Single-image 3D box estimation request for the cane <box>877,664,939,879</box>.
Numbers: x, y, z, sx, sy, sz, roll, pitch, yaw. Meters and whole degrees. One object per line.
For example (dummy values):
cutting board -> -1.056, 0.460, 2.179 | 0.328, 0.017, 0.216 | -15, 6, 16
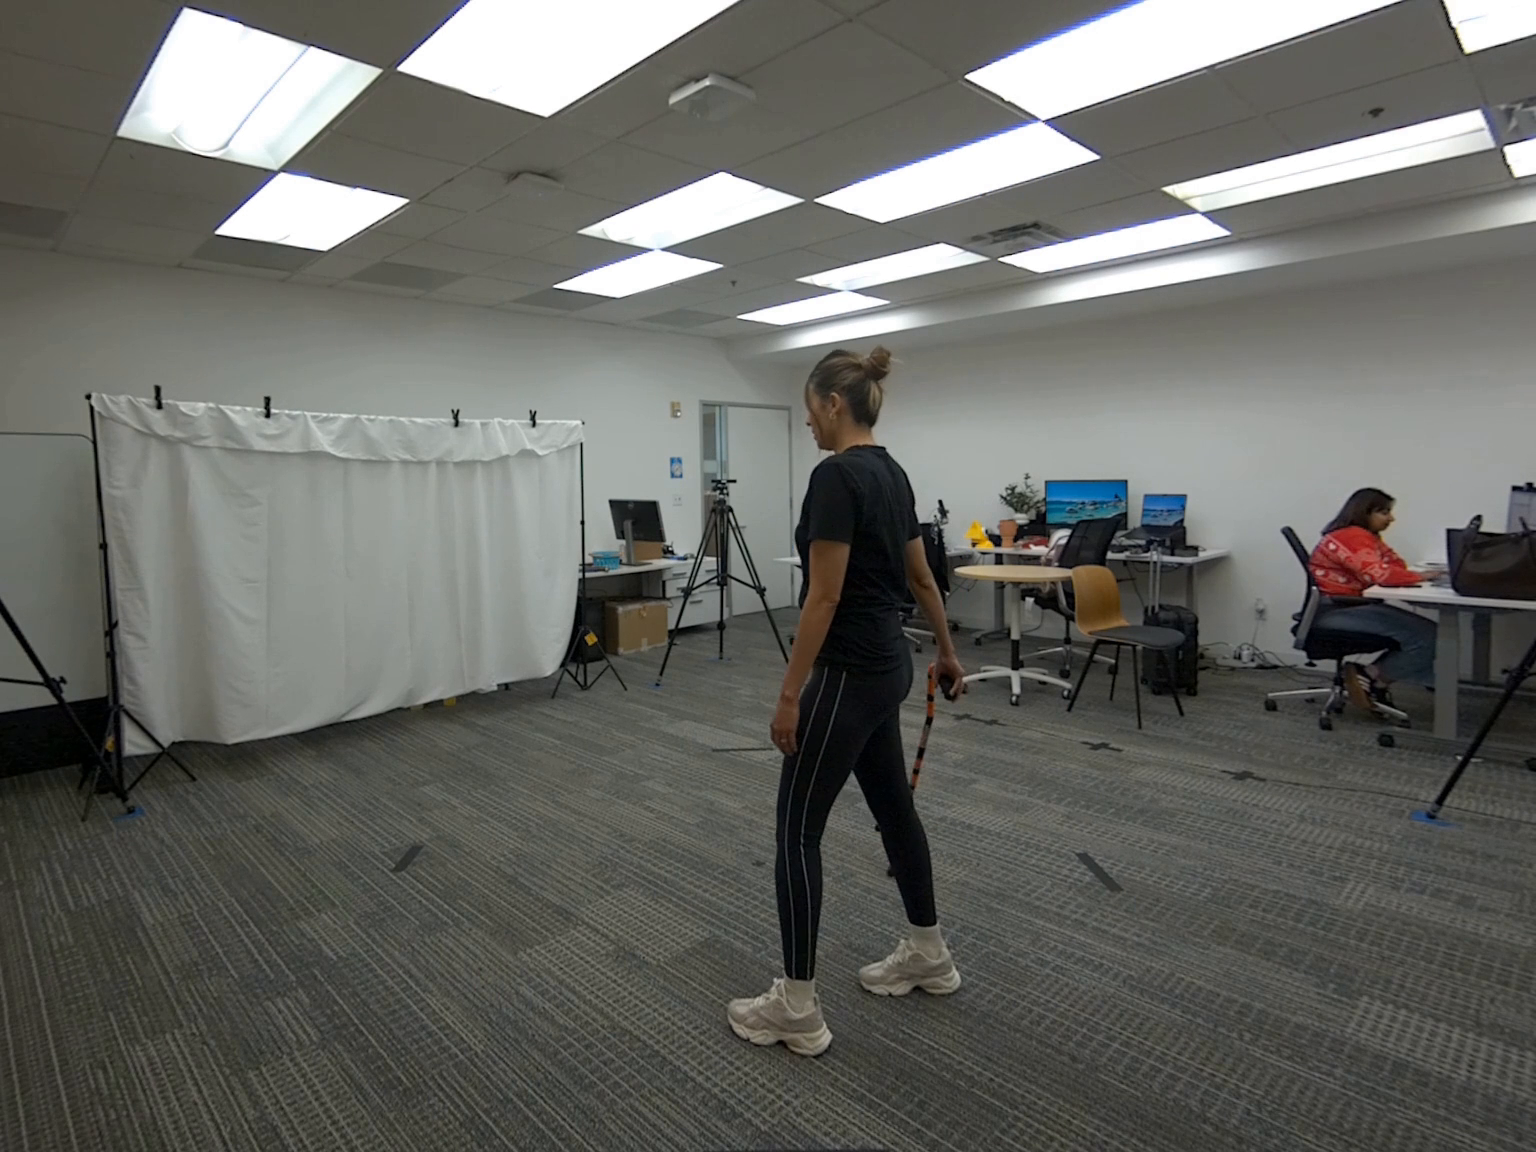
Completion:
cane -> 0.509, 0.636, 2.797 | 0.151, 0.886, 0.213 | 0, 37, -7
